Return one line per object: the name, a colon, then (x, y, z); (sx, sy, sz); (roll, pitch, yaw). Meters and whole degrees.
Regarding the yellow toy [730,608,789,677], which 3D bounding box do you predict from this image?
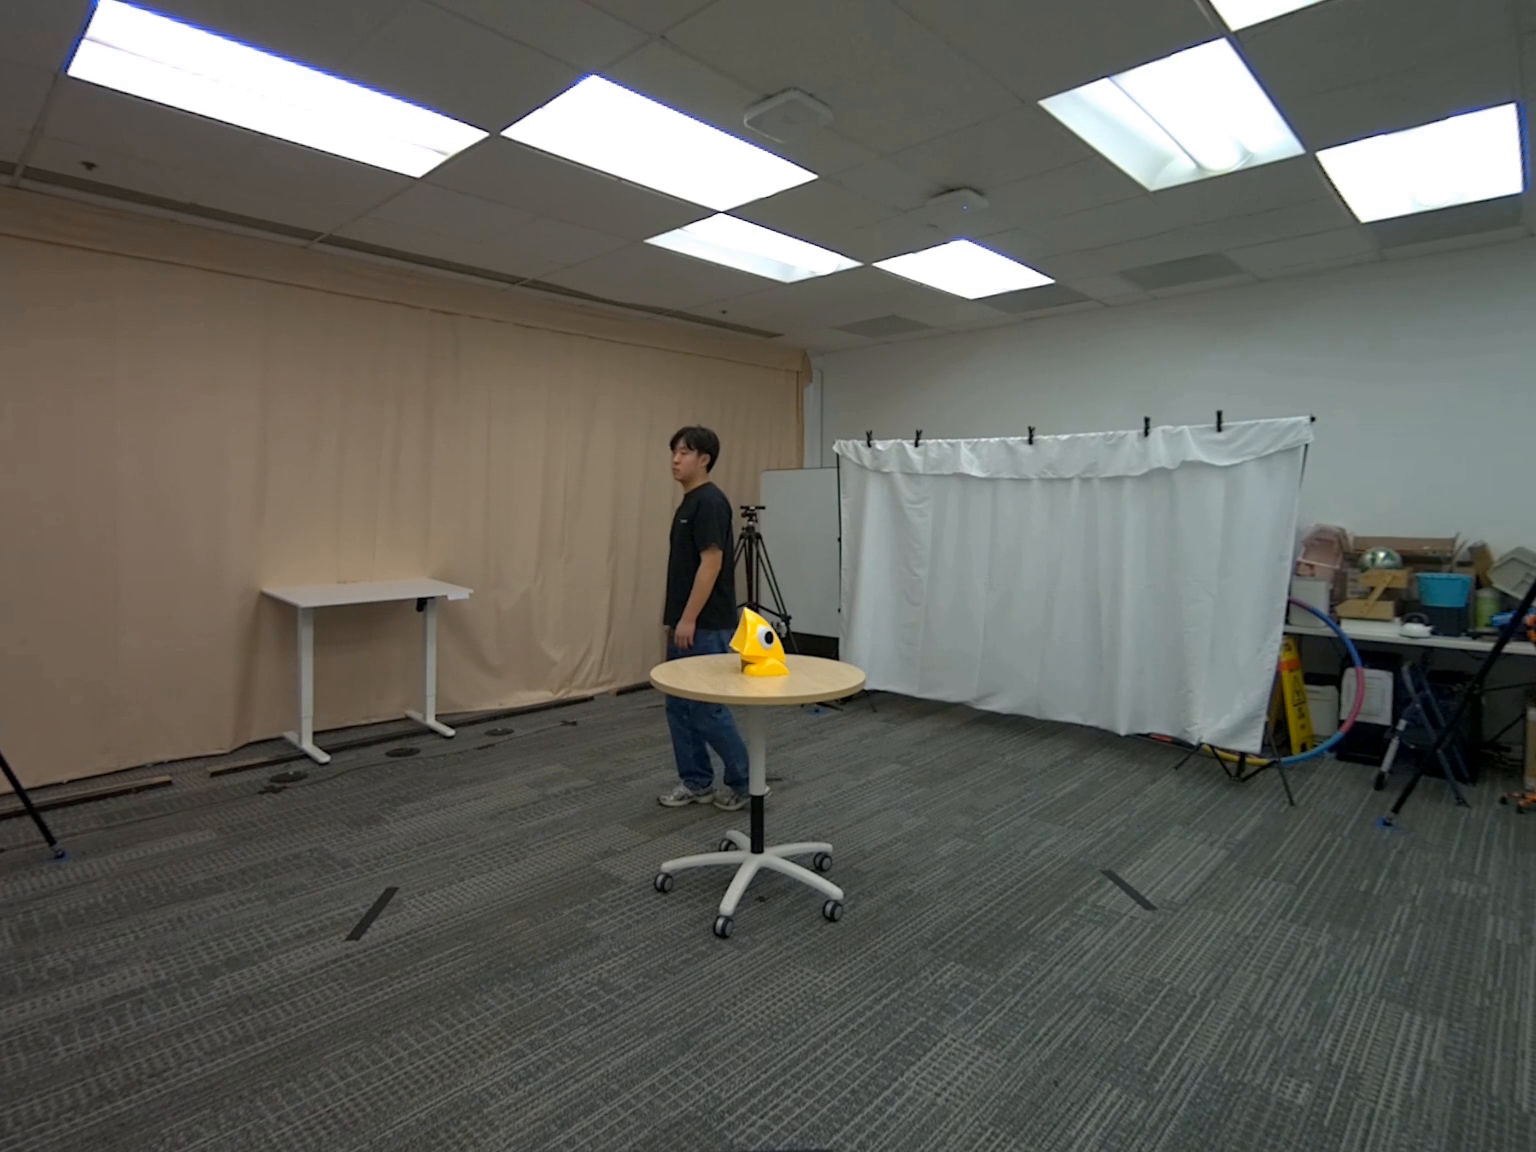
yellow toy: (-0.023, 0.226, 3.039); (0.190, 0.230, 0.208); (-2, 4, -15)
